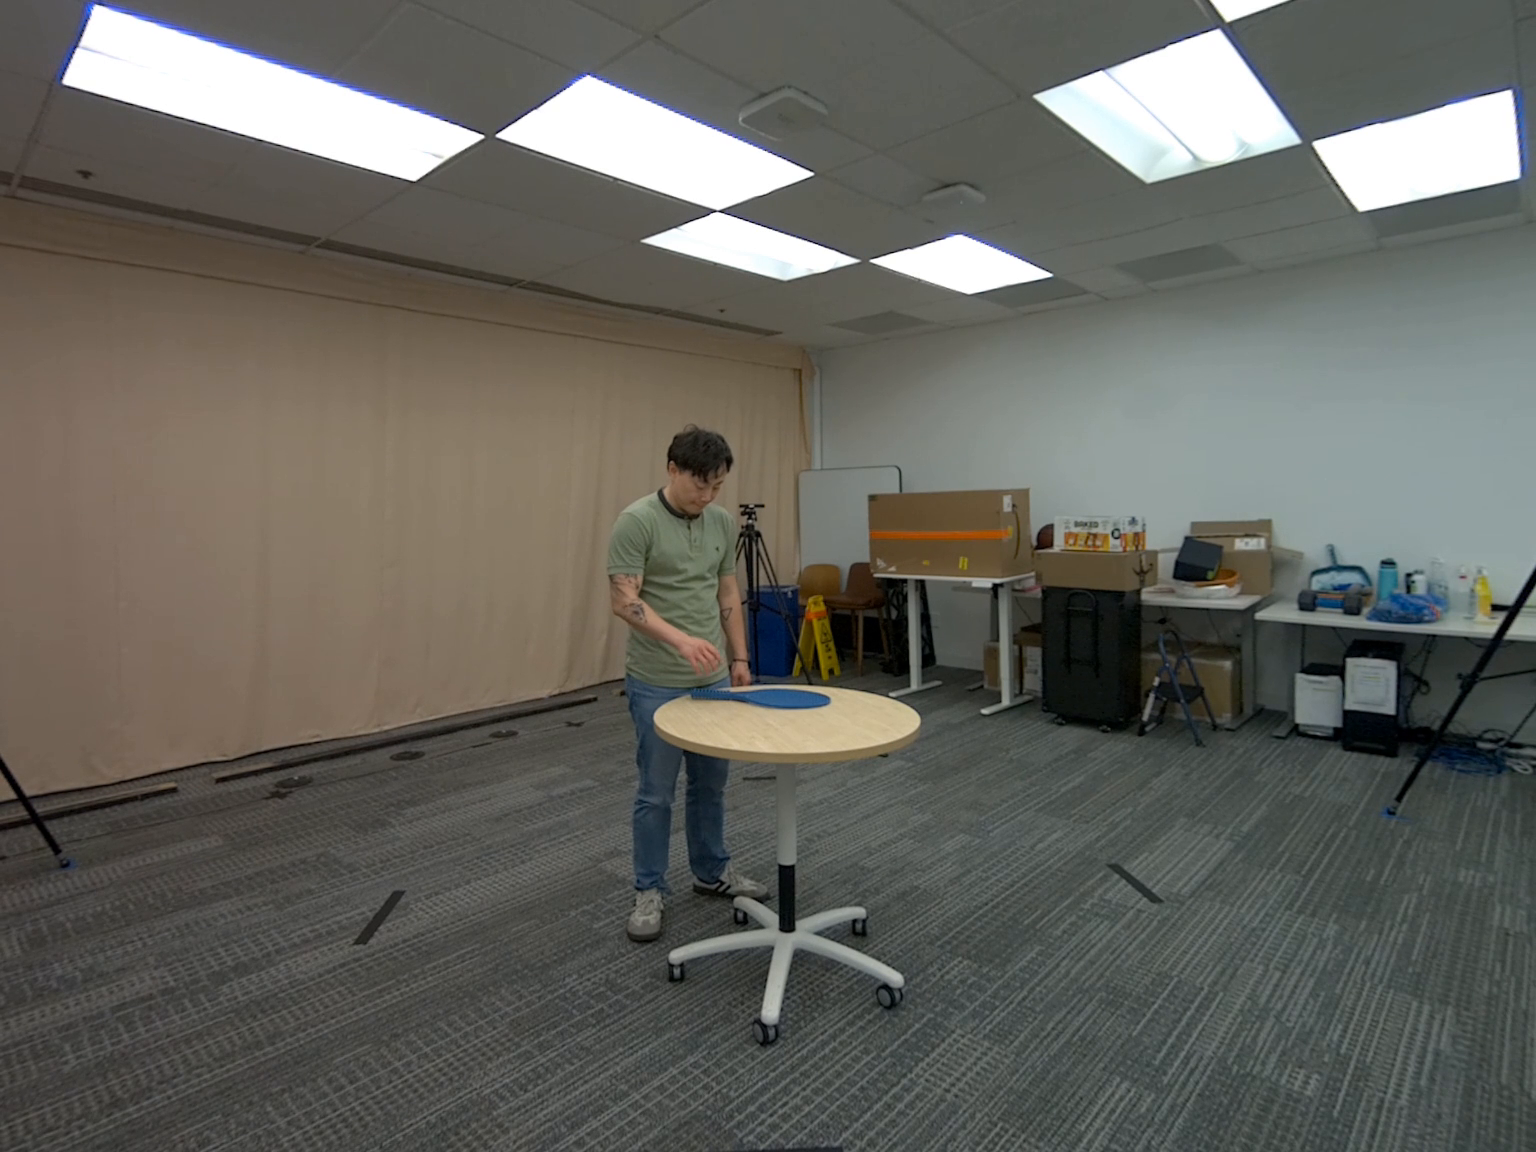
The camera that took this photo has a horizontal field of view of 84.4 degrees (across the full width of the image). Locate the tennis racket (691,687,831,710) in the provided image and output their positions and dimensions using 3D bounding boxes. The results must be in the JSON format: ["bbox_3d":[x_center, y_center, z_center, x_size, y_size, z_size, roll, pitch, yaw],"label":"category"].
[{"bbox_3d":[-0.023,0.376,2.619,0.437,0.031,0.212,2,5,8],"label":"tennis racket"}]
